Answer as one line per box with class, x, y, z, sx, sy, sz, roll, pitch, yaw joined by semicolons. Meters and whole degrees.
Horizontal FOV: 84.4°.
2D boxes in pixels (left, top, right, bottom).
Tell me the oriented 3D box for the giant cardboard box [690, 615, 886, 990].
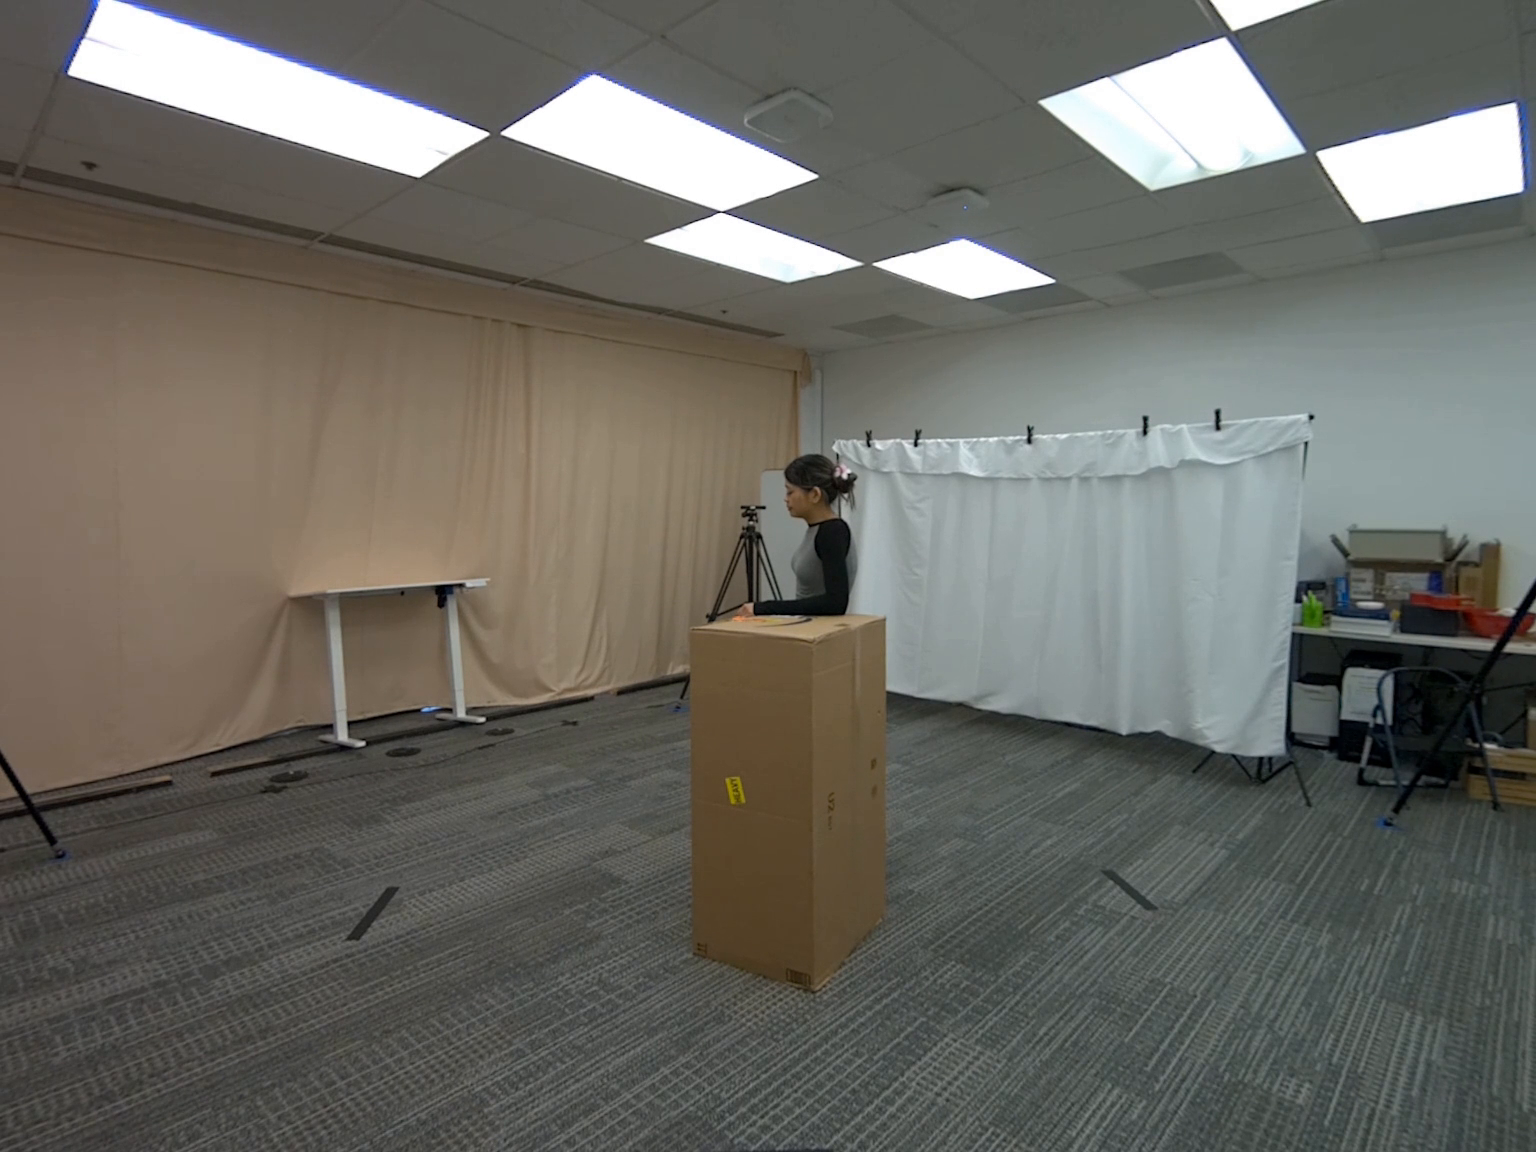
giant cardboard box;0.083;0.656;2.727;0.439;1.024;0.562;2;3;31
